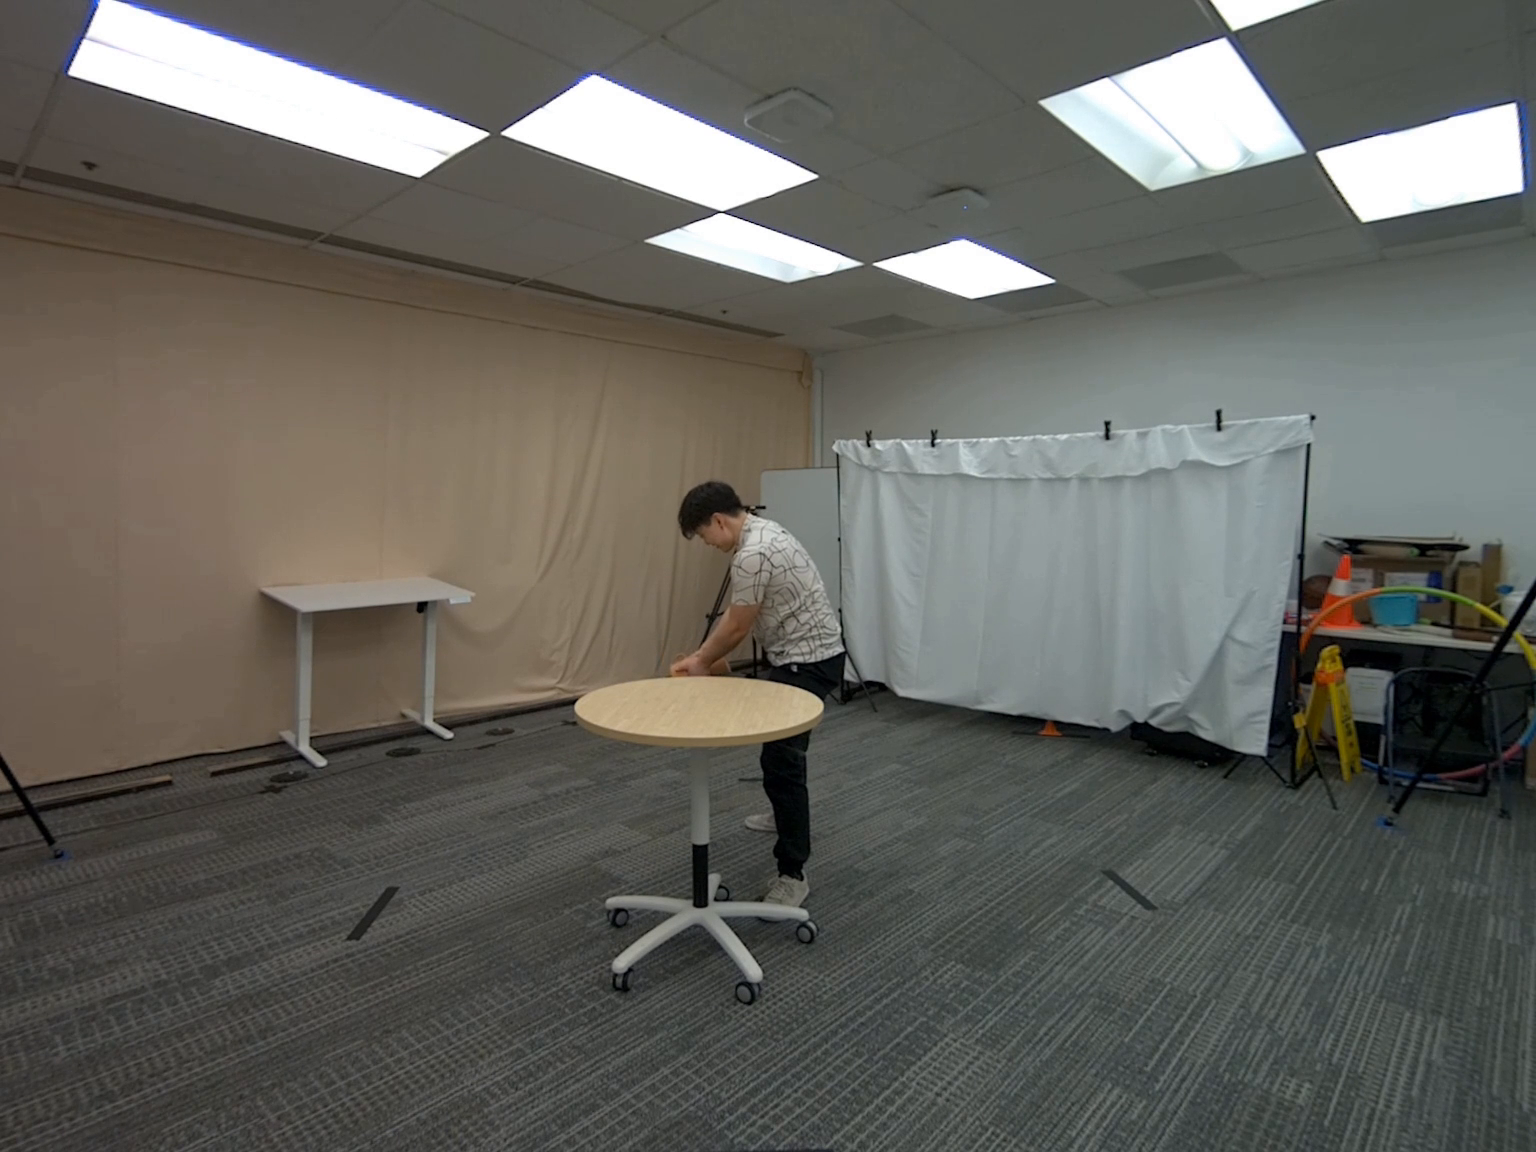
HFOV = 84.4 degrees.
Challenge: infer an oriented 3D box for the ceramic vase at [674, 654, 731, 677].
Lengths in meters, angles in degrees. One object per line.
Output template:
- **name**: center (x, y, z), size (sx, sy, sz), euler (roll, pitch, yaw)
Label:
- **ceramic vase**: center (-0.273, 0.379, 3.378), size (0.220, 0.154, 0.138), euler (-21, 33, 1)
